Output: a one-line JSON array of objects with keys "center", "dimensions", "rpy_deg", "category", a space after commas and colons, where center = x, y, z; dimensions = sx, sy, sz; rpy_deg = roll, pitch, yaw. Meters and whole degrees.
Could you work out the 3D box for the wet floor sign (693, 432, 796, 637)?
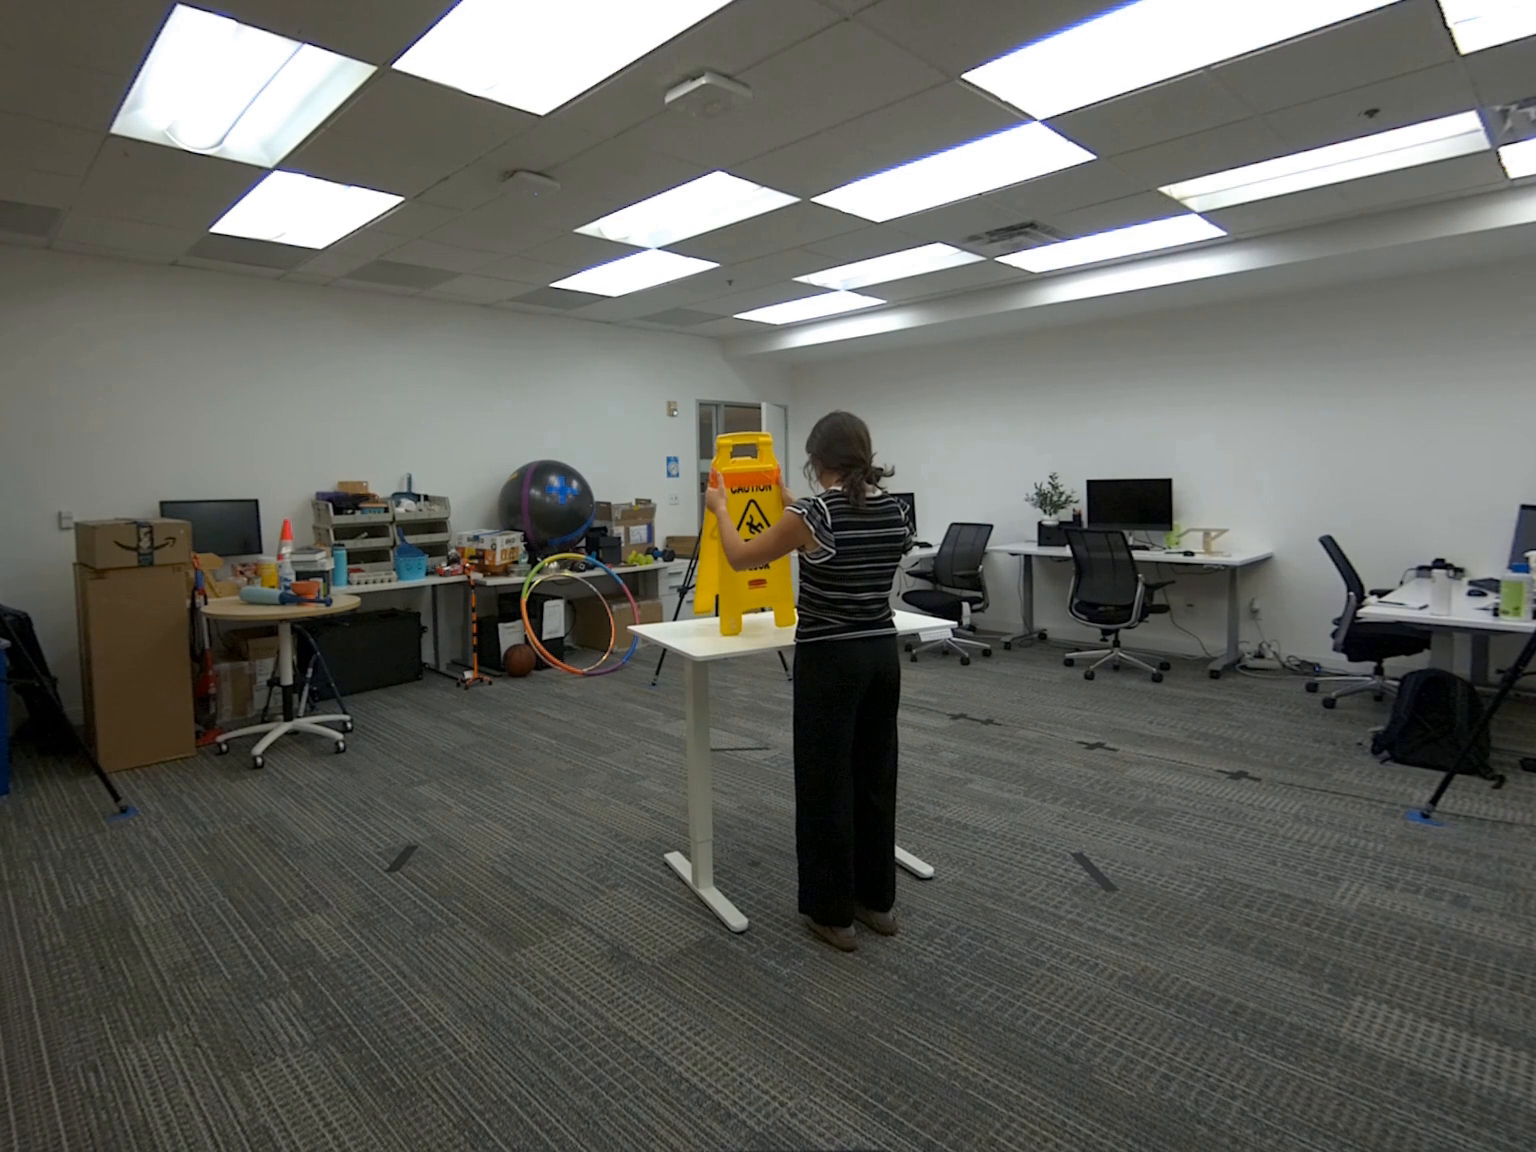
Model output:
[{"center": [-0.080, -0.159, 2.905], "dimensions": [0.277, 0.639, 0.299], "rpy_deg": [-5, 14, -24], "category": "wet floor sign"}]
